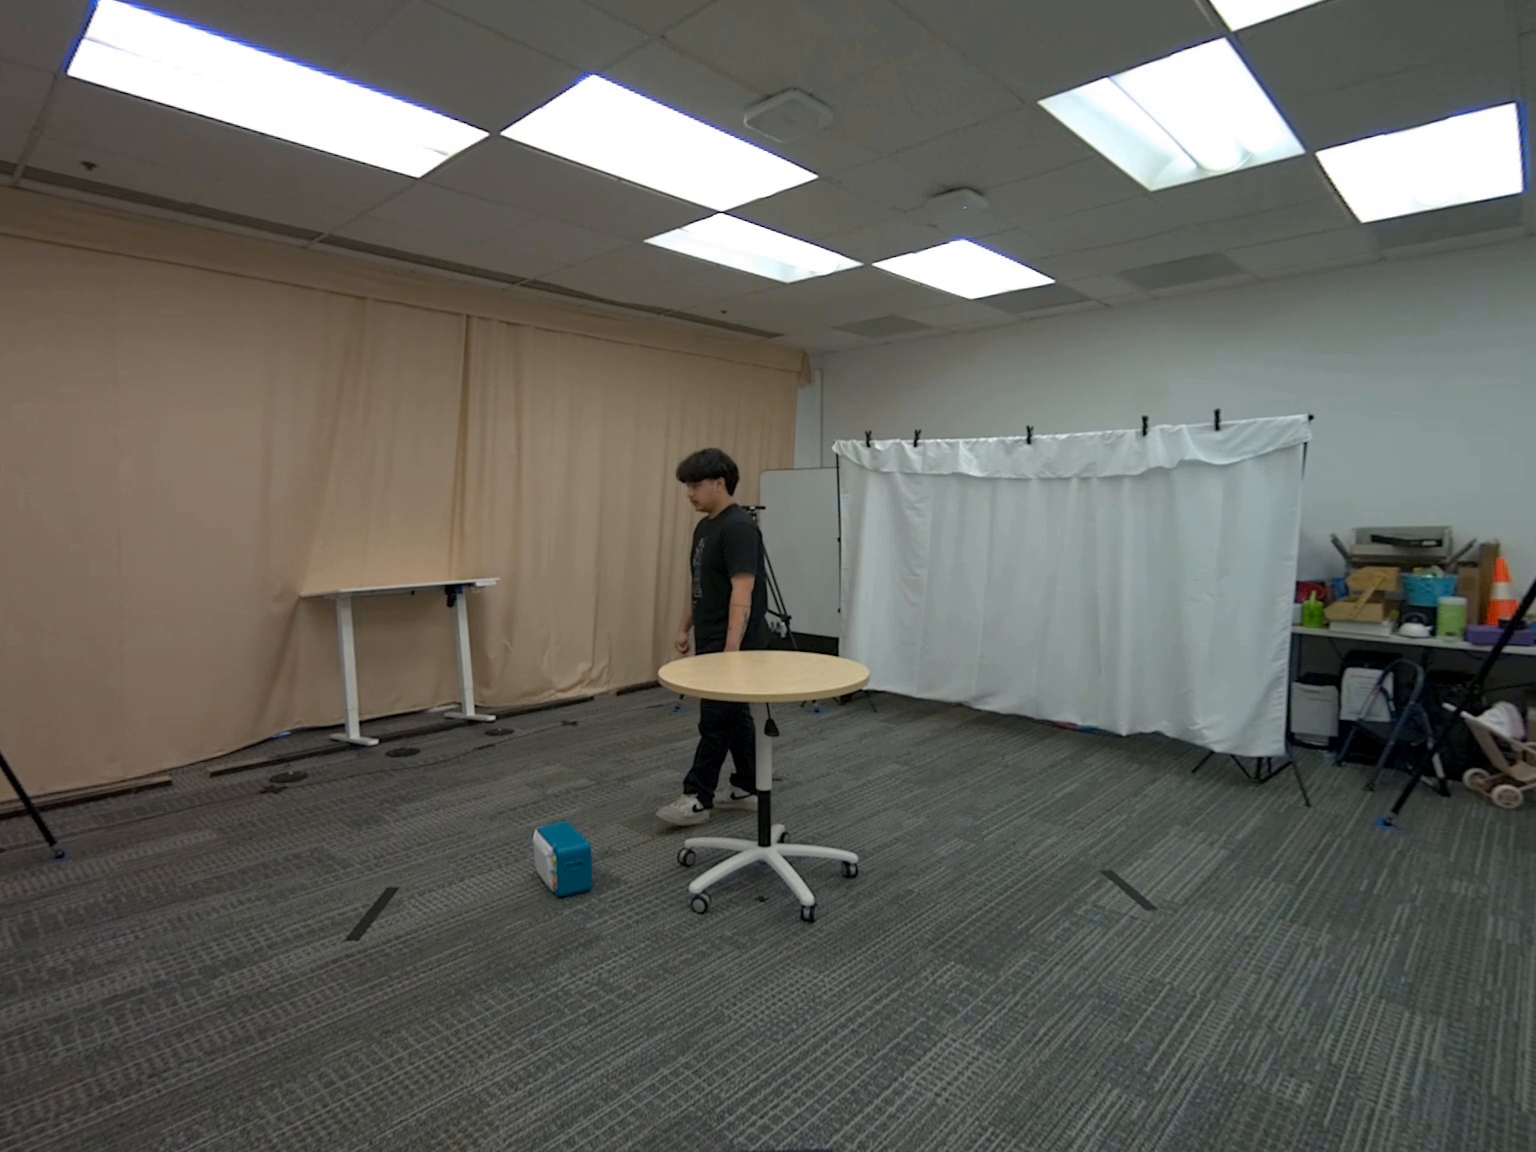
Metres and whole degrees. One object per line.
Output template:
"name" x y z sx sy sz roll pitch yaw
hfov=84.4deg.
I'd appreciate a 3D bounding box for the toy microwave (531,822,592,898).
"toy microwave" -0.767 1.046 3.125 0.148 0.184 0.294 -2 4 -30
